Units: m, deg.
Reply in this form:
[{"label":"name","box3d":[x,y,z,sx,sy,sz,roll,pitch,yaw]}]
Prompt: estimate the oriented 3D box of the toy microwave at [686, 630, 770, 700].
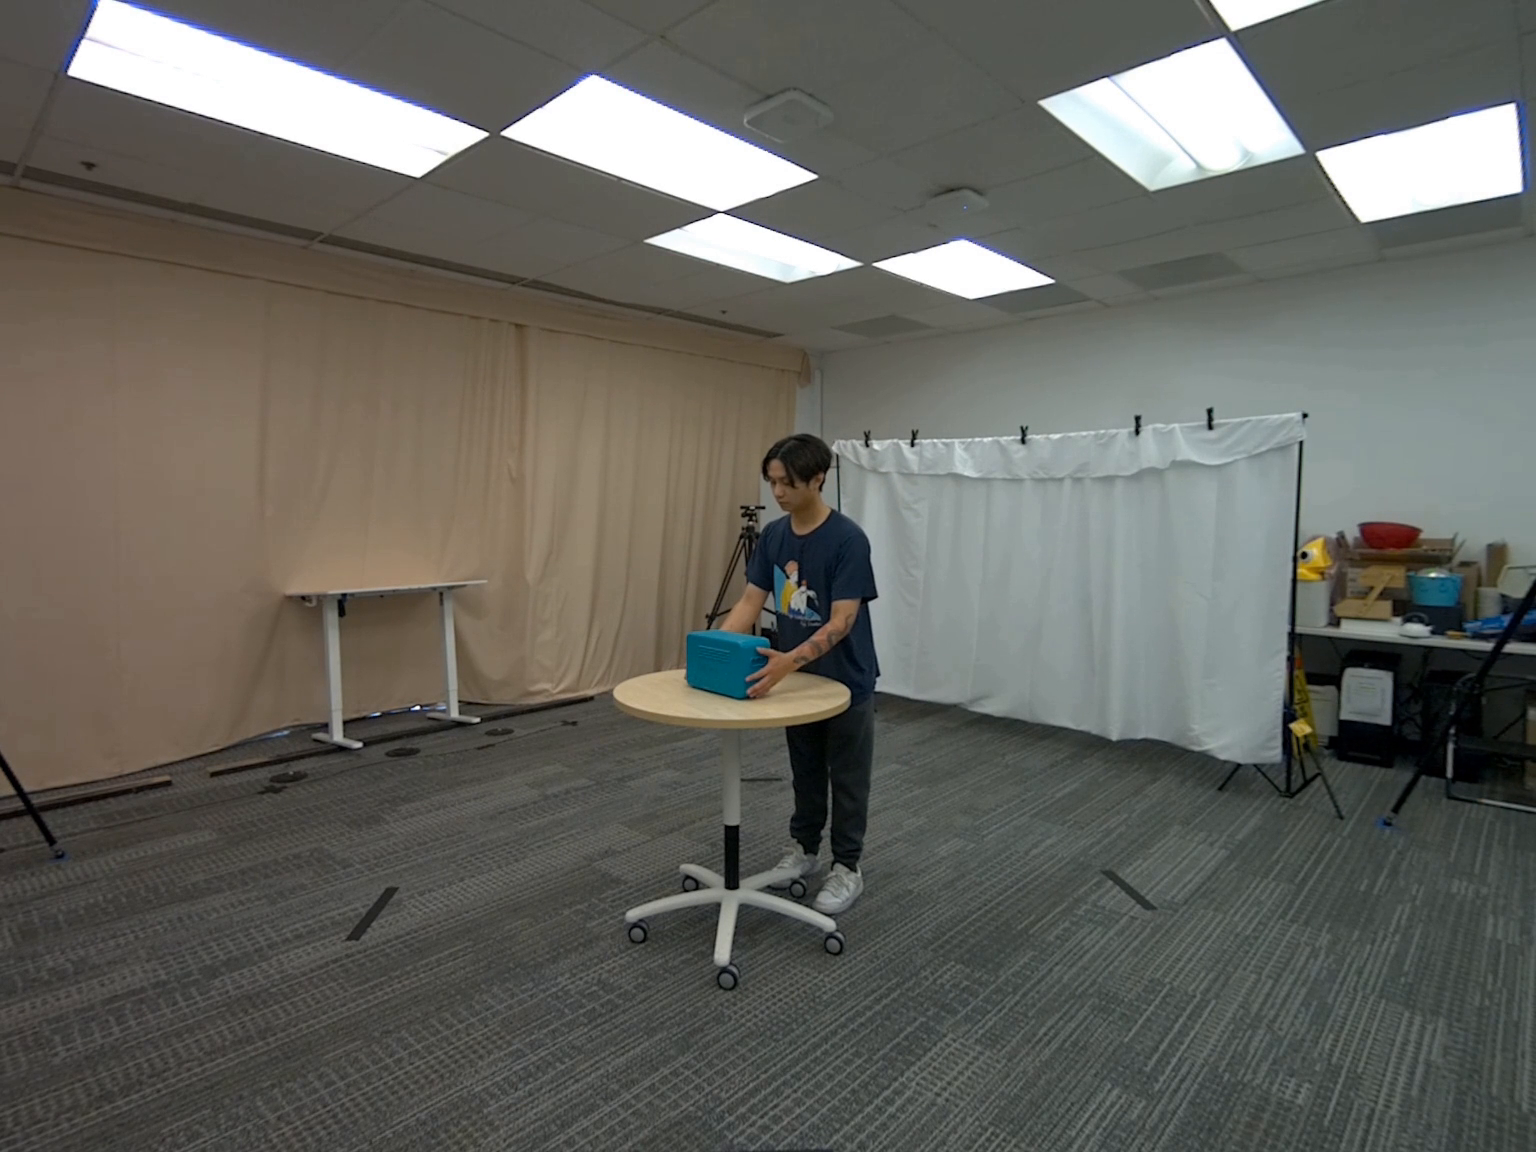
[{"label":"toy microwave","box3d":[-0.122,0.285,2.706,0.148,0.183,0.295,-5,7,-38]}]
